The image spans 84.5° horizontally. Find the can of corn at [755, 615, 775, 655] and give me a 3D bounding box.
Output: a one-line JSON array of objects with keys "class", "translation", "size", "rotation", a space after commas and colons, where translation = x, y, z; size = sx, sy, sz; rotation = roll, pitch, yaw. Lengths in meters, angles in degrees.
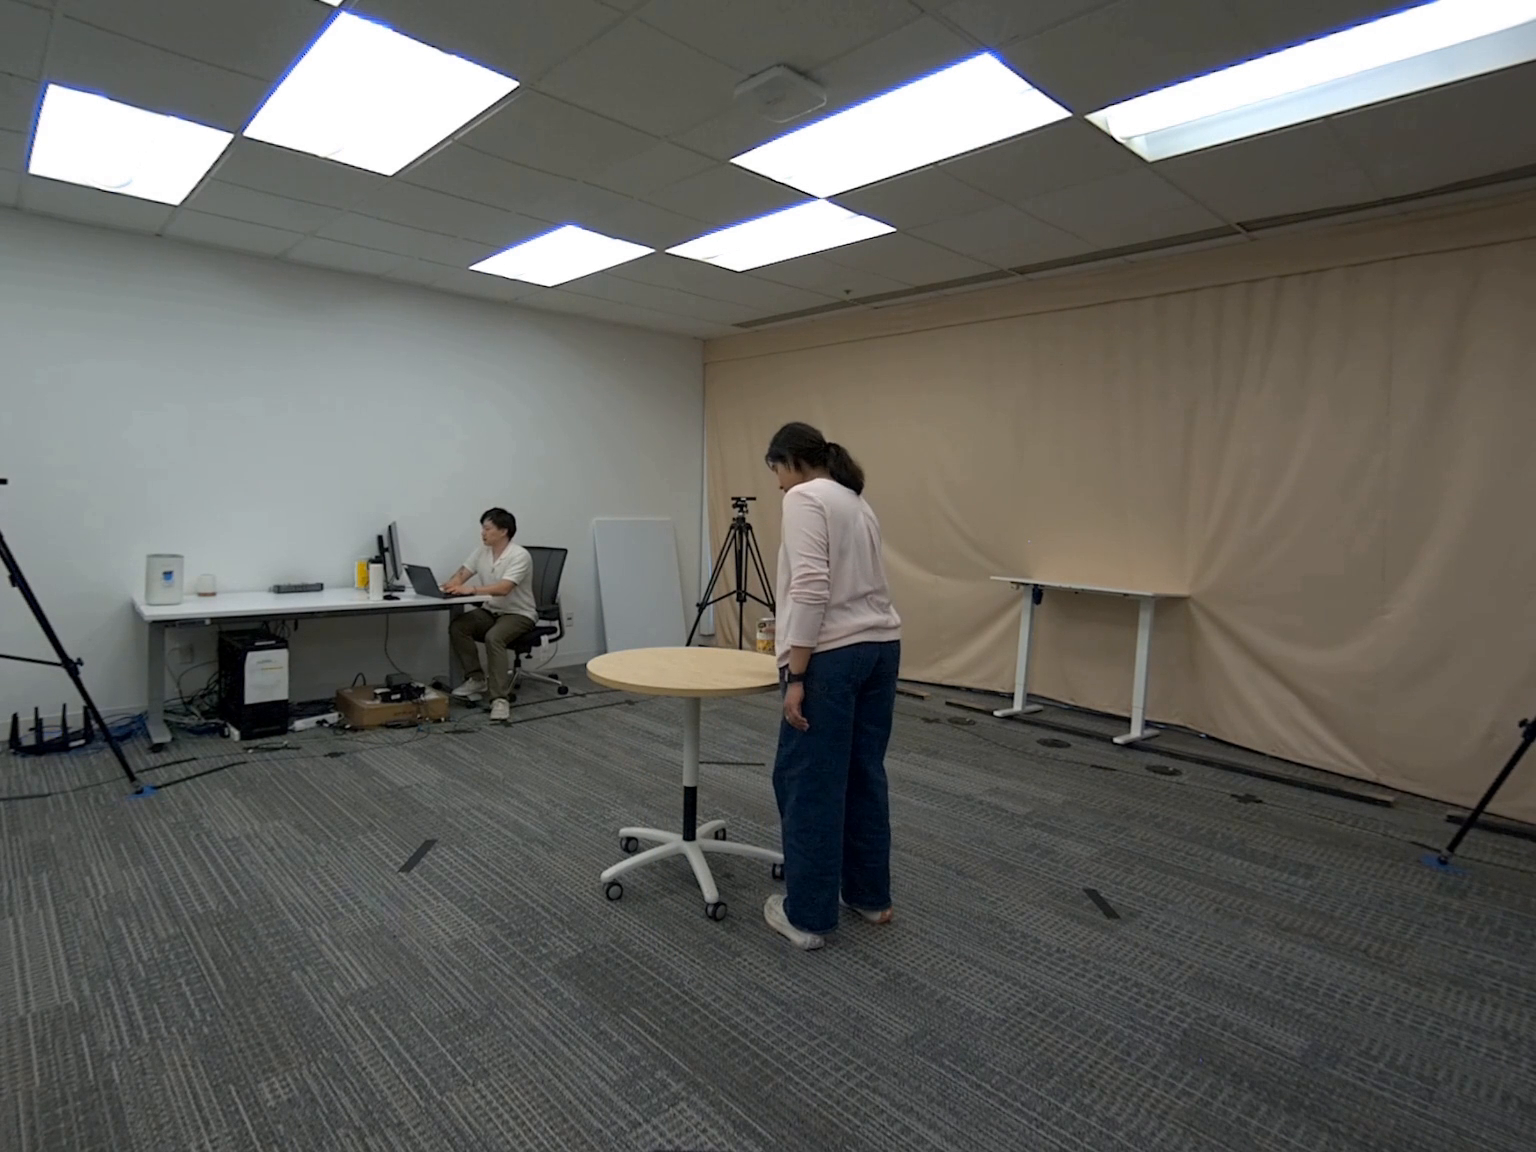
[{"class": "can of corn", "translation": [-0.004, 0.207, 2.949], "size": [0.074, 0.111, 0.074], "rotation": [0, 2, -1]}]
